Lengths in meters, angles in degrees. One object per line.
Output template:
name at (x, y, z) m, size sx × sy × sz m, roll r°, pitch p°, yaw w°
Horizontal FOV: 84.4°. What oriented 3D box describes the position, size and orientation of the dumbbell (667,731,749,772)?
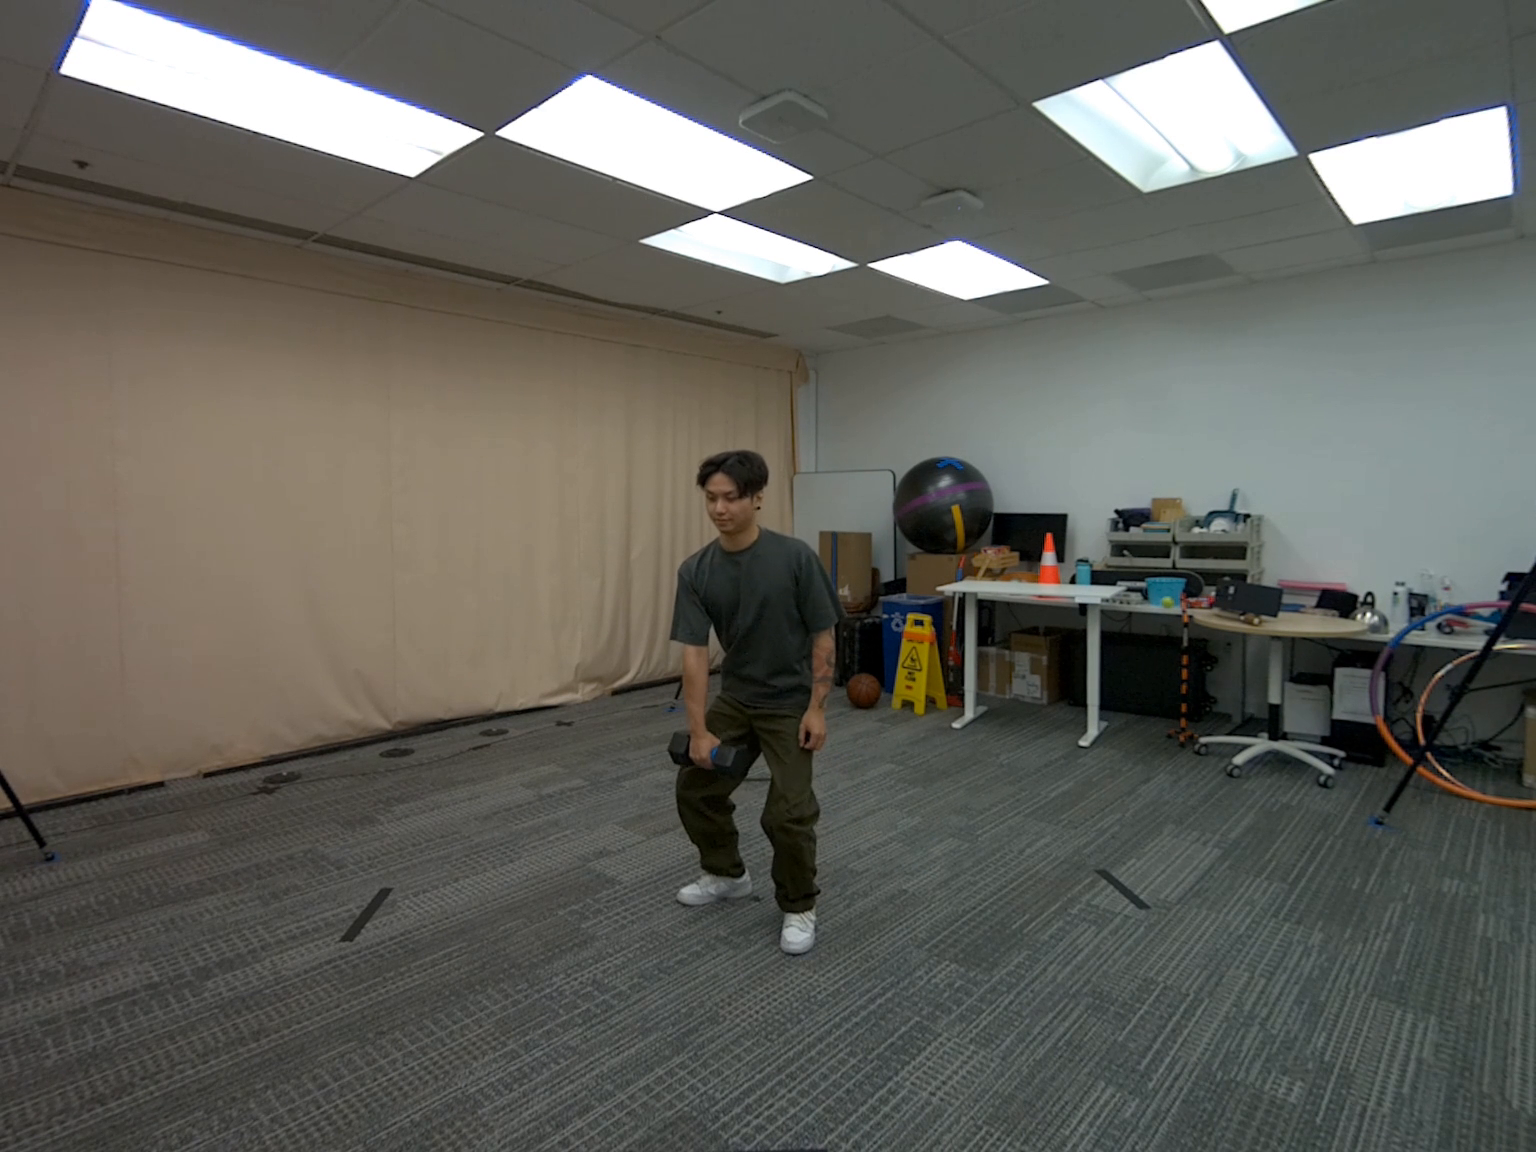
dumbbell at (-0.184, 0.582, 2.725) m, size 0.303 × 0.120 × 0.107 m, roll 2°, pitch 33°, yaw 43°
